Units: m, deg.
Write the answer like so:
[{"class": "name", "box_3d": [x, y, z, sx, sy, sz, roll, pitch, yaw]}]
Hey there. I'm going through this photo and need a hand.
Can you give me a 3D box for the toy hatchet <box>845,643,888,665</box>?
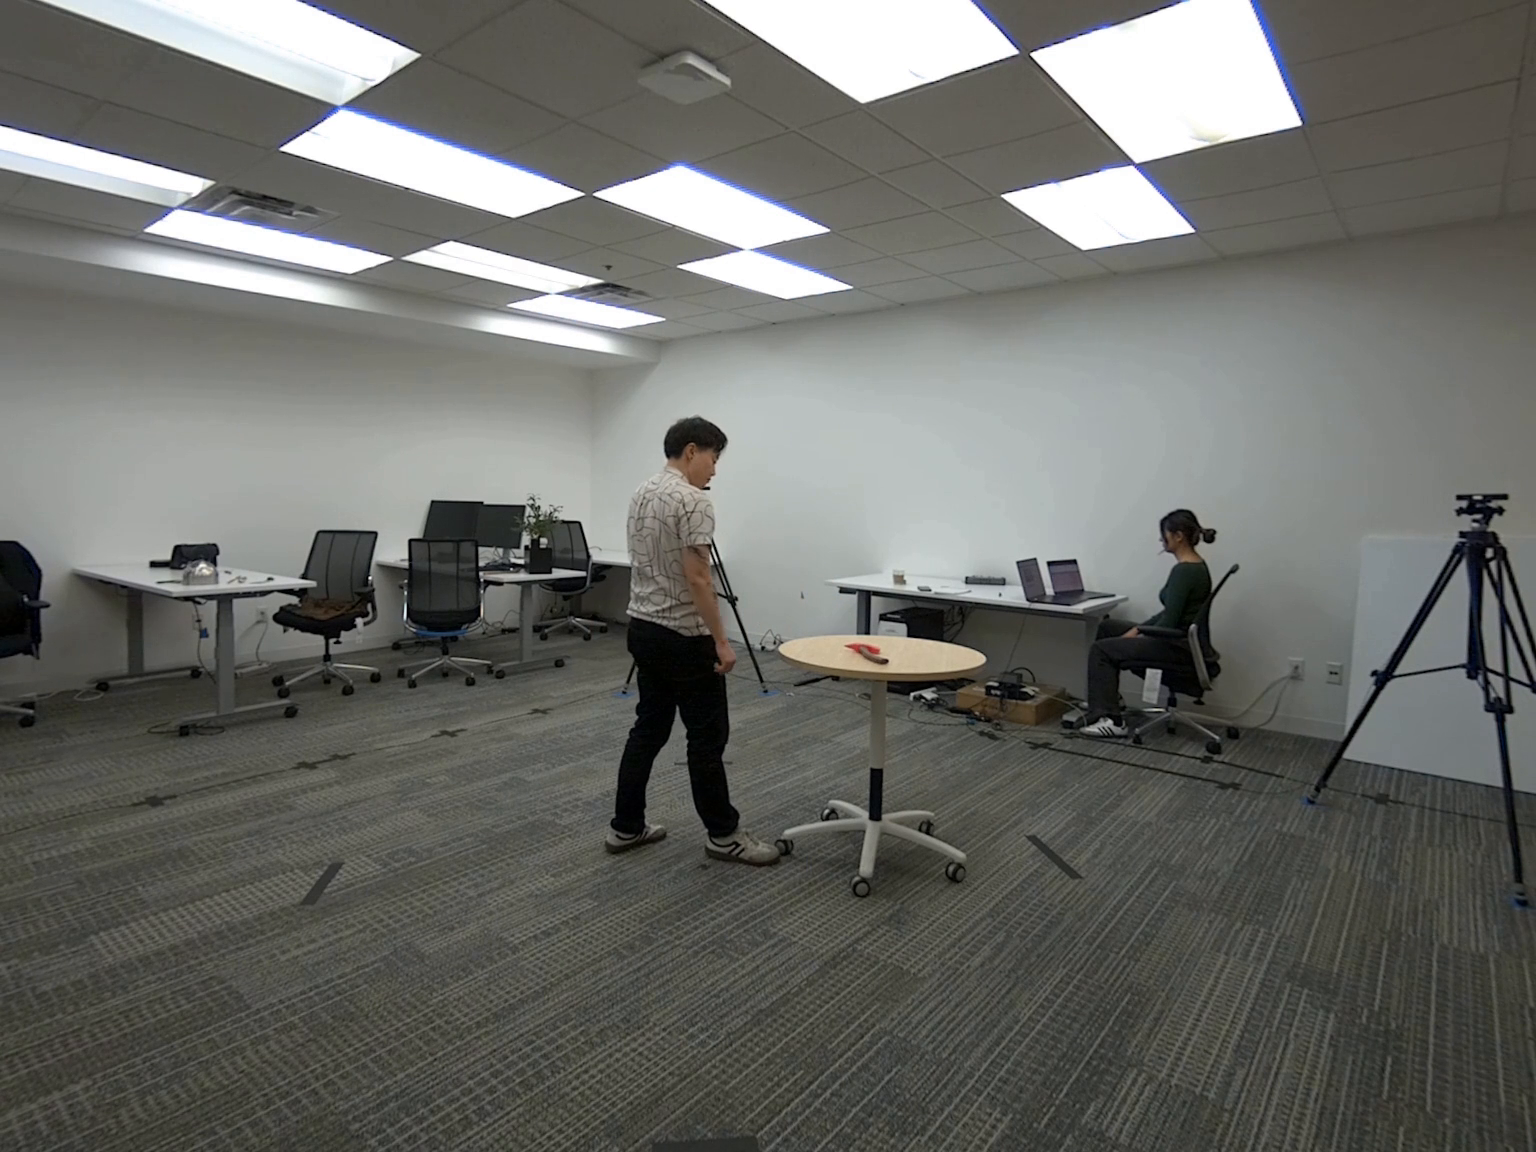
[{"class": "toy hatchet", "box_3d": [0.390, 0.283, 3.109, 0.128, 0.029, 0.277, 4, 5, -23]}]
